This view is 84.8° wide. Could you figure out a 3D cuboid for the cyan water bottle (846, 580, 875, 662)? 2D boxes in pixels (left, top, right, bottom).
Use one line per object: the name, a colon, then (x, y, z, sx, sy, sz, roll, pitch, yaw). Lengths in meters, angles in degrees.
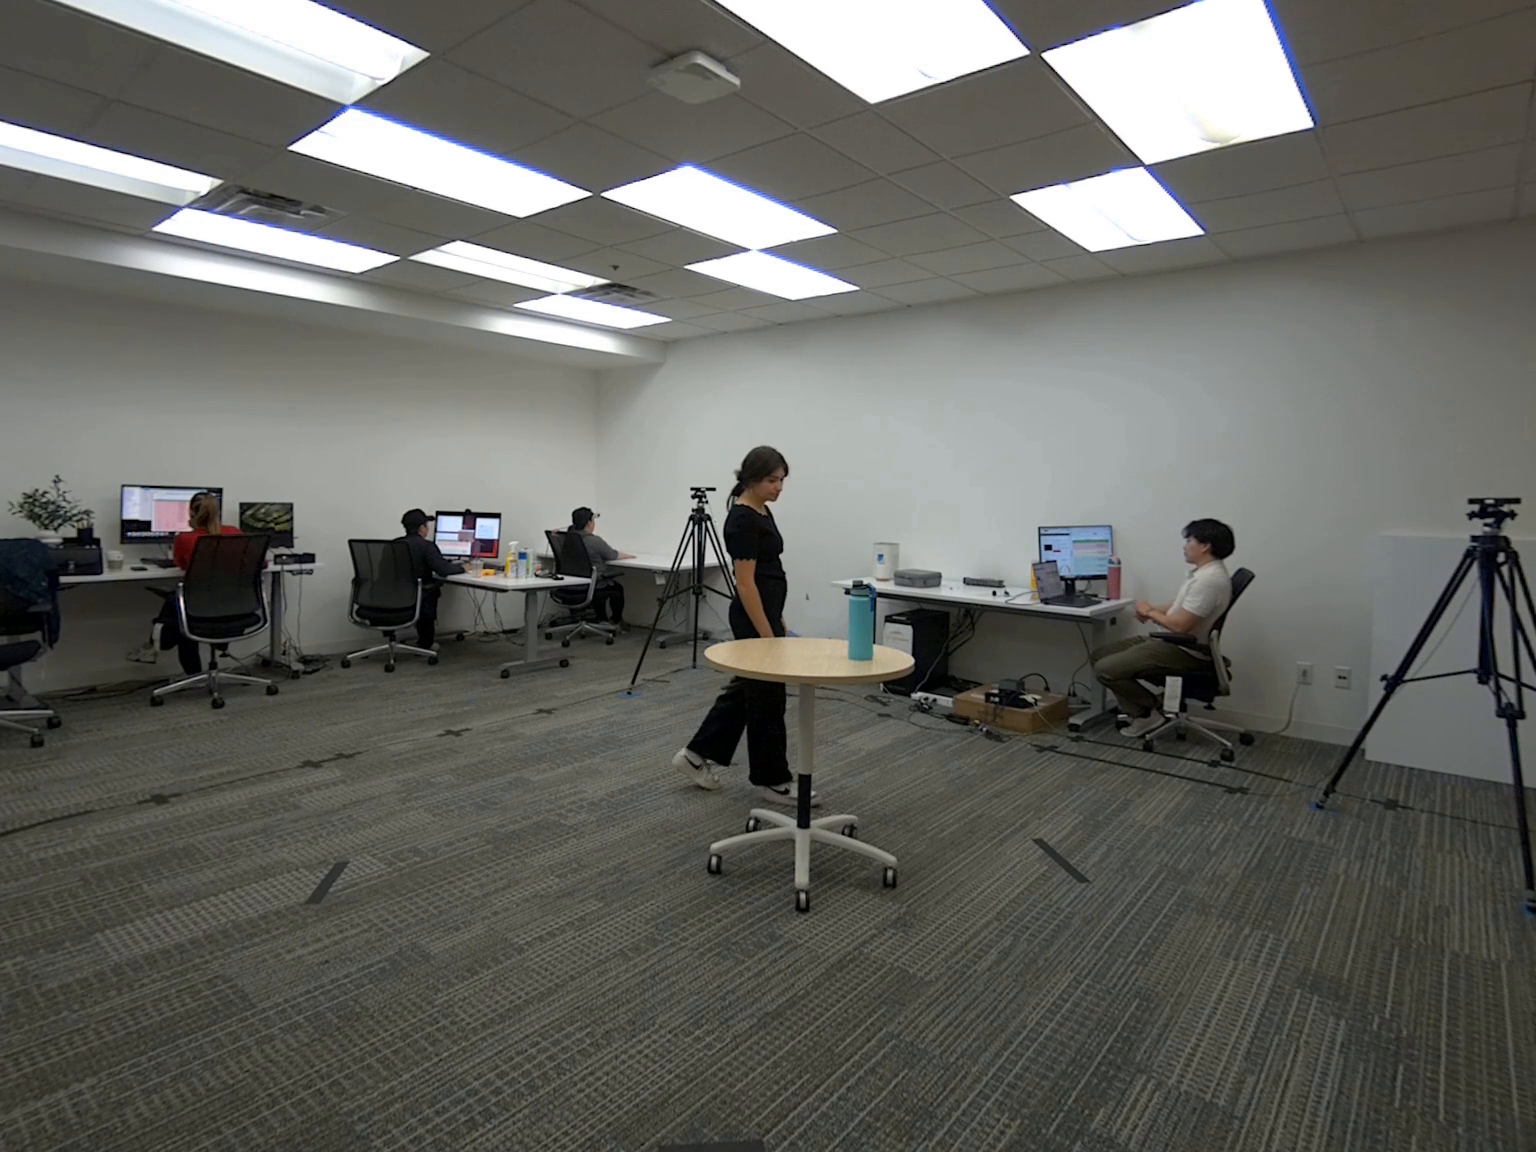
cyan water bottle: (0.328, 0.154, 3.065, 0.092, 0.282, 0.093, 0, 4, -2)
